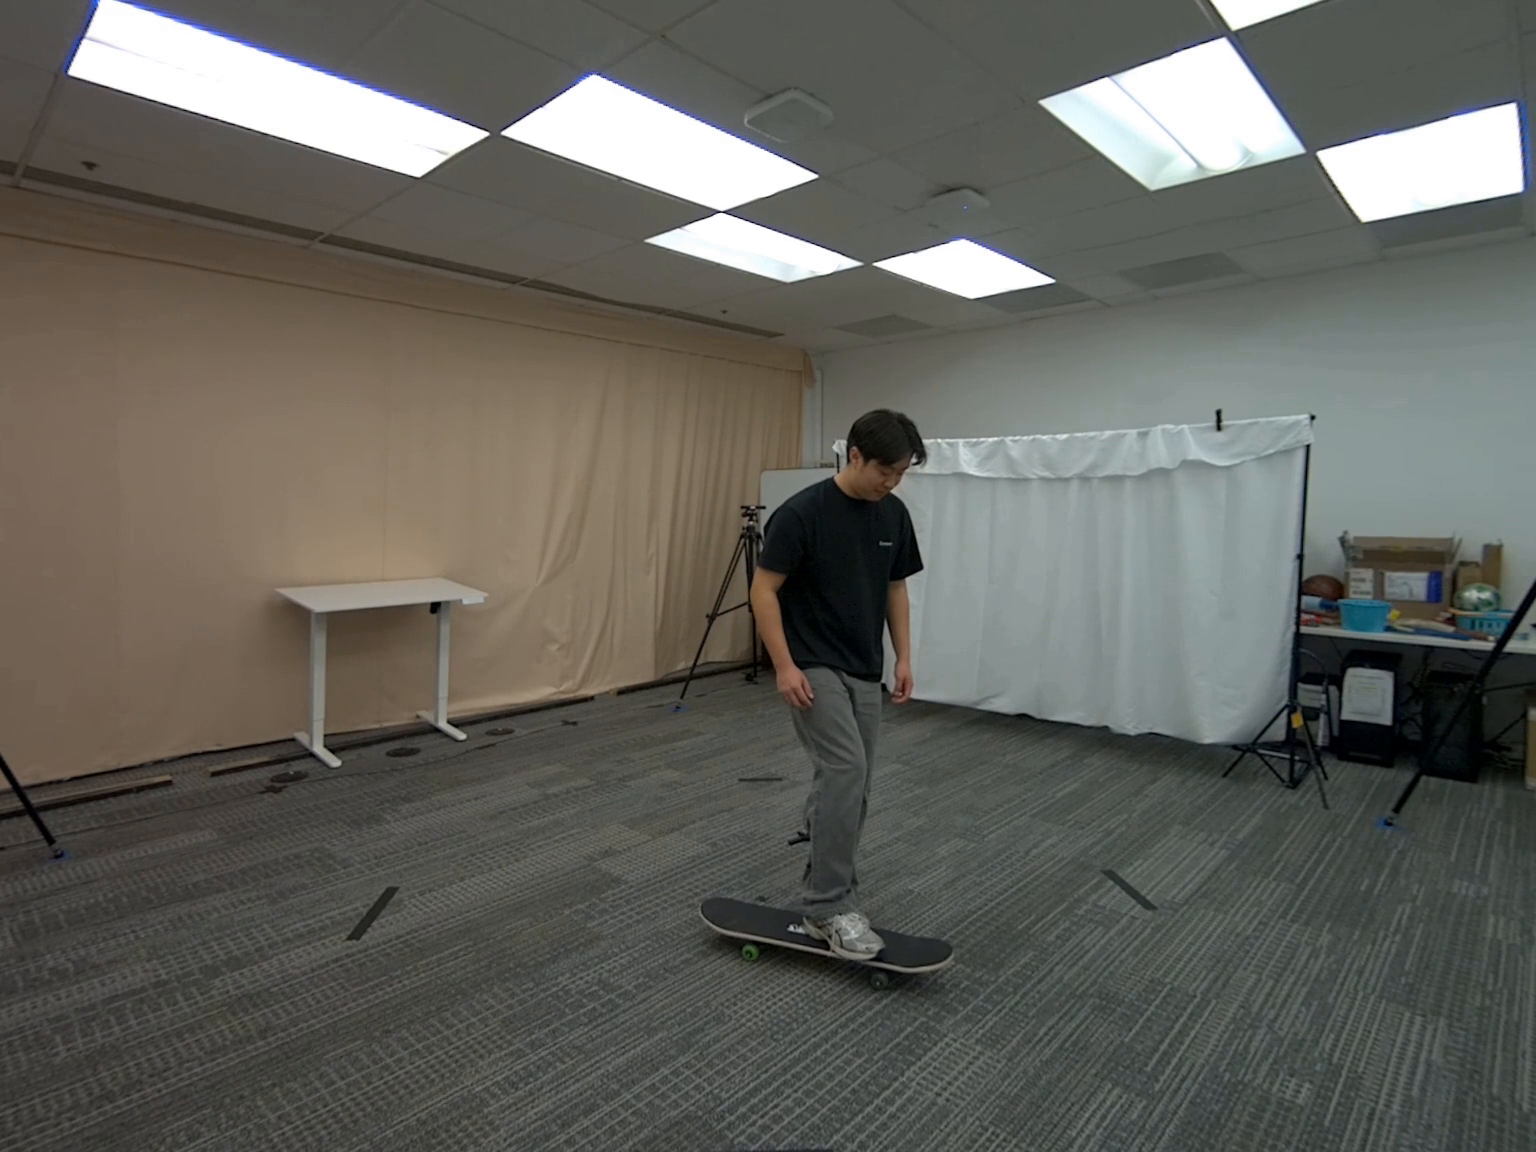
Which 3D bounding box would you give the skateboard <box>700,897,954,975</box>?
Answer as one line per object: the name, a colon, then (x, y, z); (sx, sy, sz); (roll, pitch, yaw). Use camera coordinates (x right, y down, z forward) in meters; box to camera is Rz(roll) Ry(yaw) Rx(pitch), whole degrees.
skateboard: (0.161, 1.123, 2.568); (0.803, 0.110, 0.190); (1, 5, 22)
